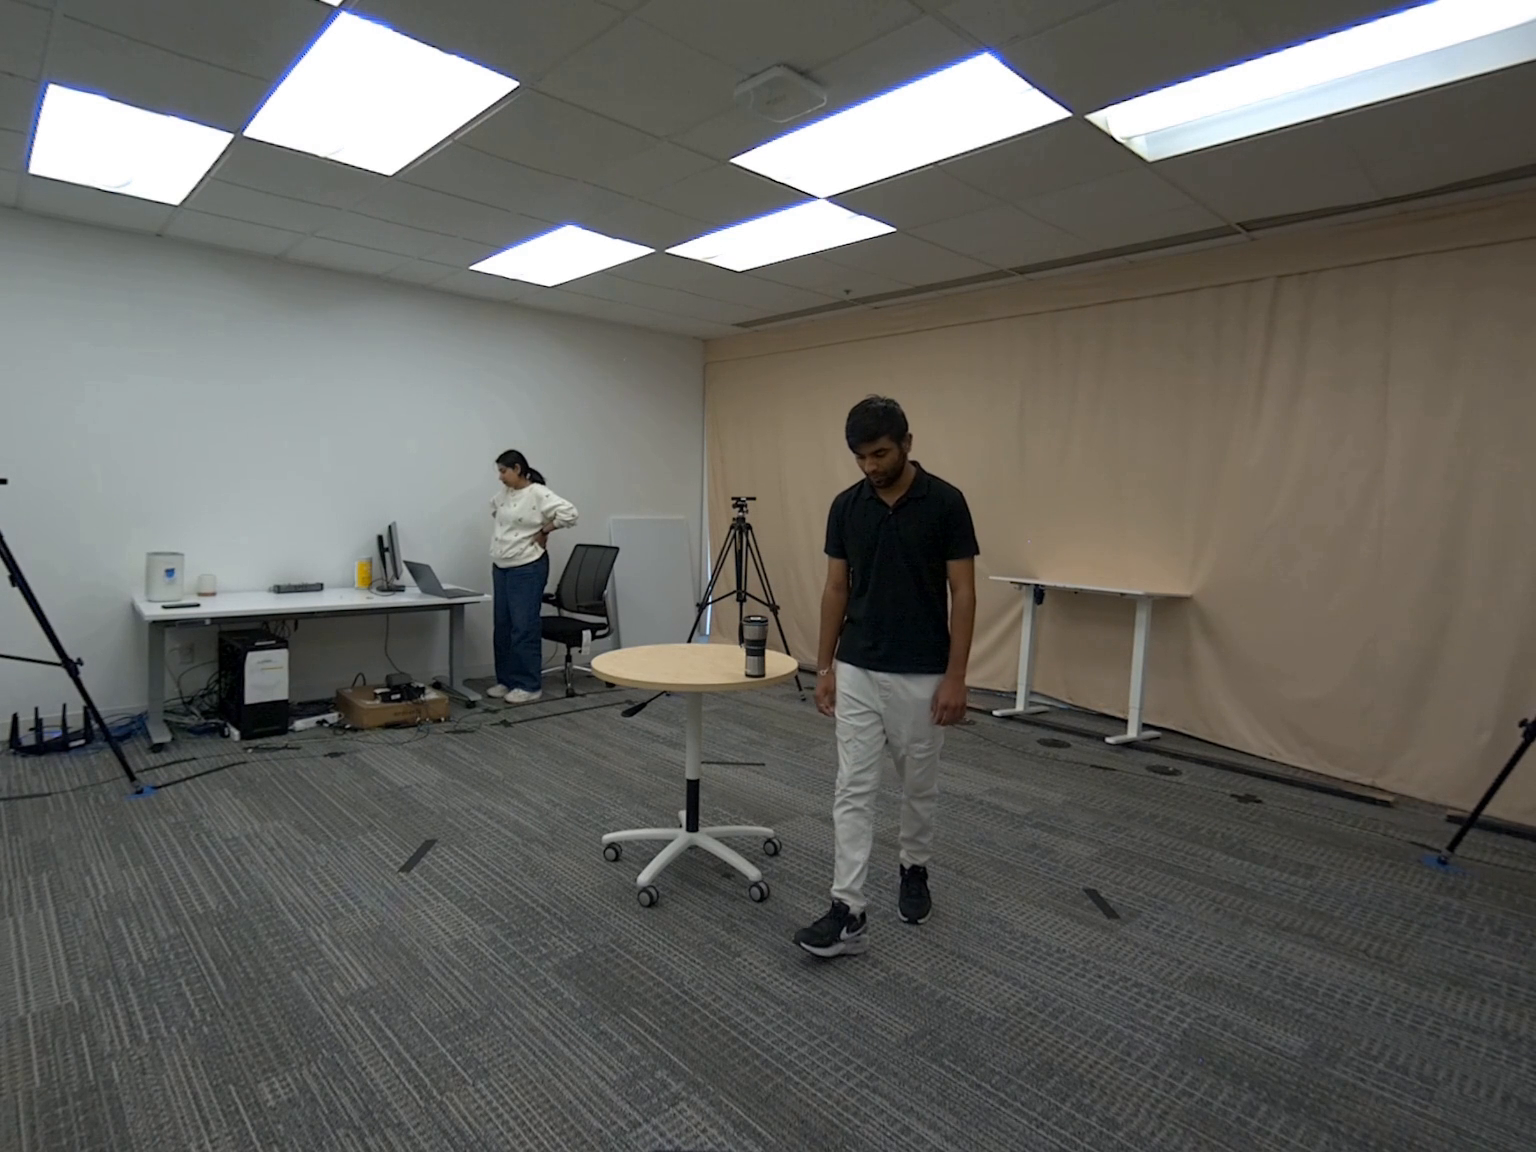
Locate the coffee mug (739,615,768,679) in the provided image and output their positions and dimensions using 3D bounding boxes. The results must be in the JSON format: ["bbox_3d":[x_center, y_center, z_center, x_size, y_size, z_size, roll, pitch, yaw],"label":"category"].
[{"bbox_3d":[-0.035,0.242,2.896,0.119,0.203,0.090,-5,2,-44],"label":"coffee mug"}]
